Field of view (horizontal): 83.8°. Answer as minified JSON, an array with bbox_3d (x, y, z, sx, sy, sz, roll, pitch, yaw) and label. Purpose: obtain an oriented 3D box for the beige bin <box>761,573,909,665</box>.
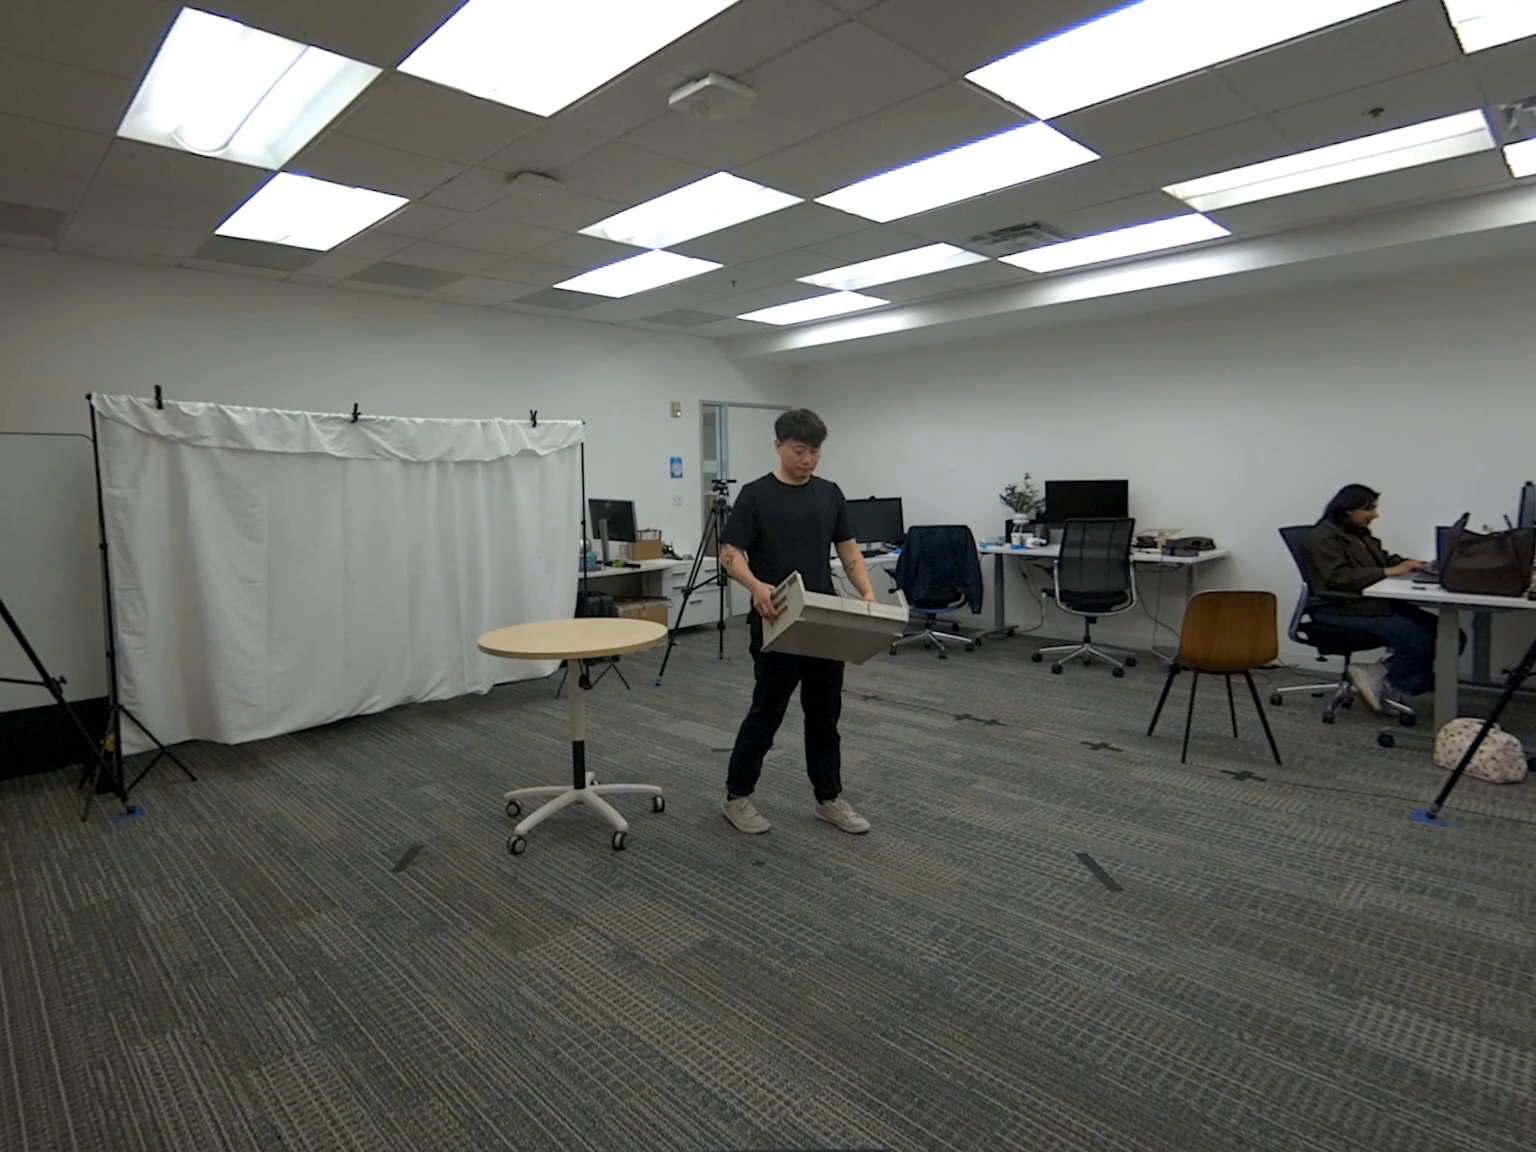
[{"bbox_3d":[0.224,0.160,3.085,0.414,0.193,0.376,10,-29,-20],"label":"beige bin"}]
